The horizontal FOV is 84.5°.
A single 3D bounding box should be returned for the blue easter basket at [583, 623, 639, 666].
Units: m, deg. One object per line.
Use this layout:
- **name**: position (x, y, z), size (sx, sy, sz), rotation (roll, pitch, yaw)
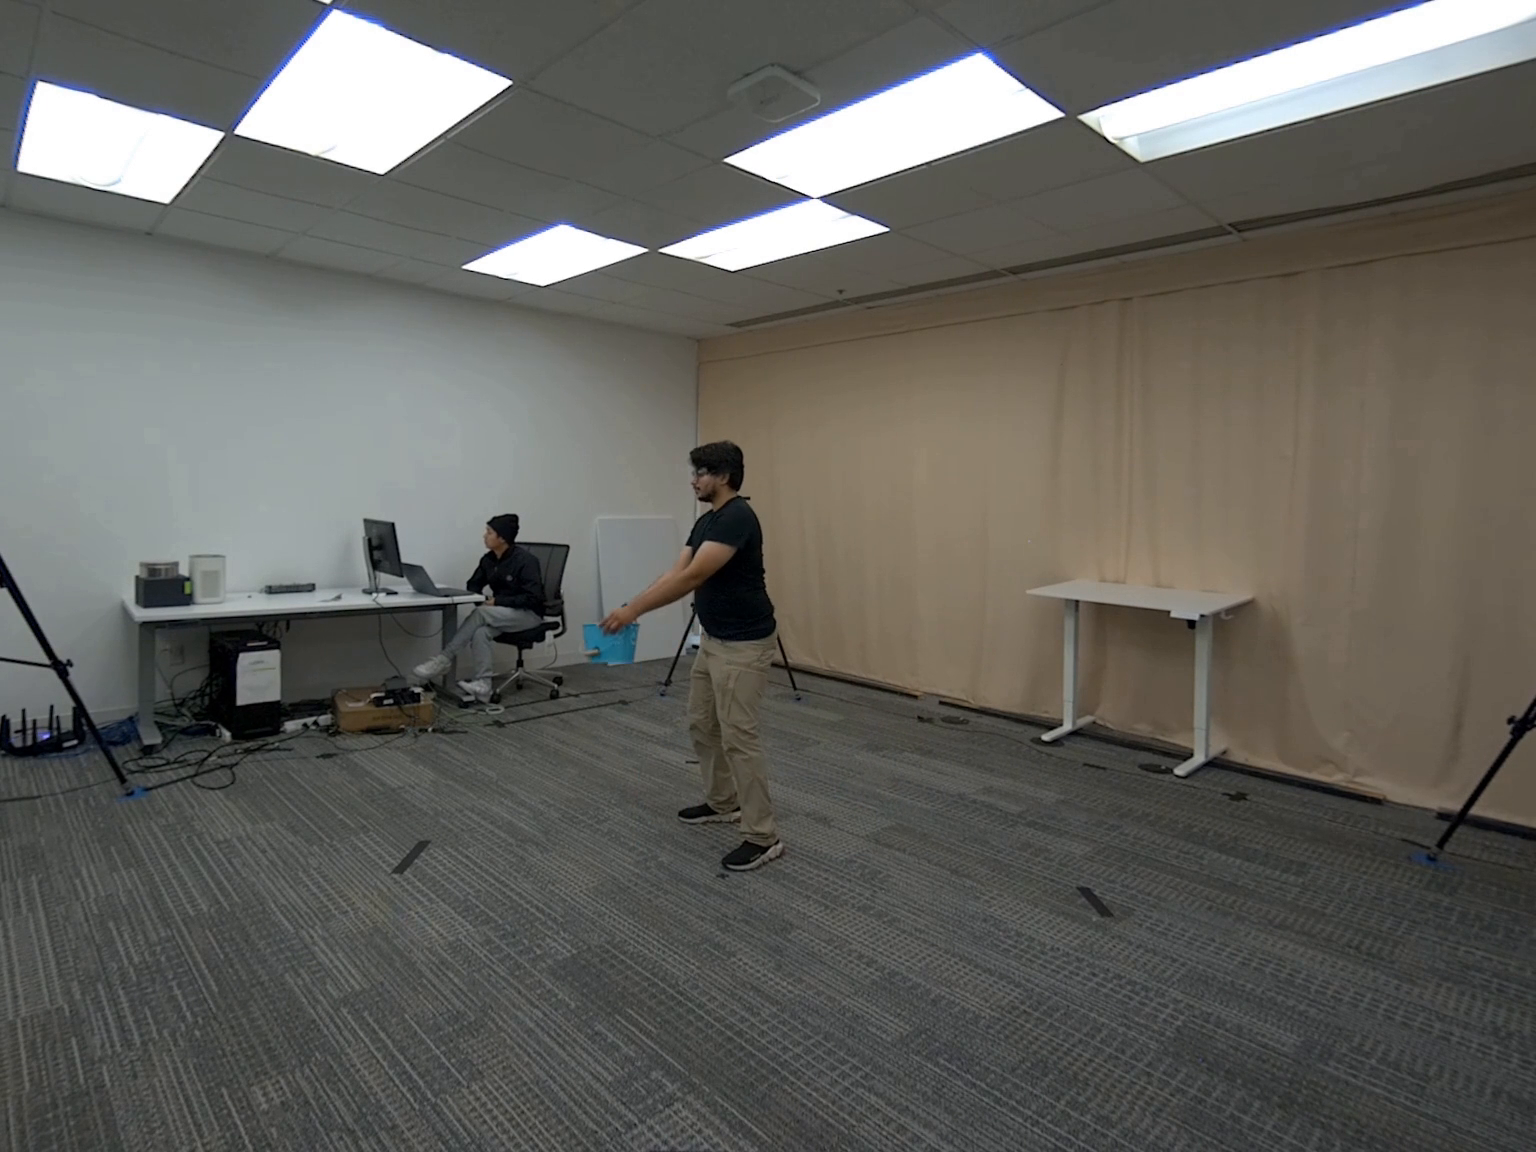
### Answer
- **blue easter basket**: position (-0.640, 0.270, 3.359), size (0.243, 0.156, 0.242), rotation (0, -6, -1)
